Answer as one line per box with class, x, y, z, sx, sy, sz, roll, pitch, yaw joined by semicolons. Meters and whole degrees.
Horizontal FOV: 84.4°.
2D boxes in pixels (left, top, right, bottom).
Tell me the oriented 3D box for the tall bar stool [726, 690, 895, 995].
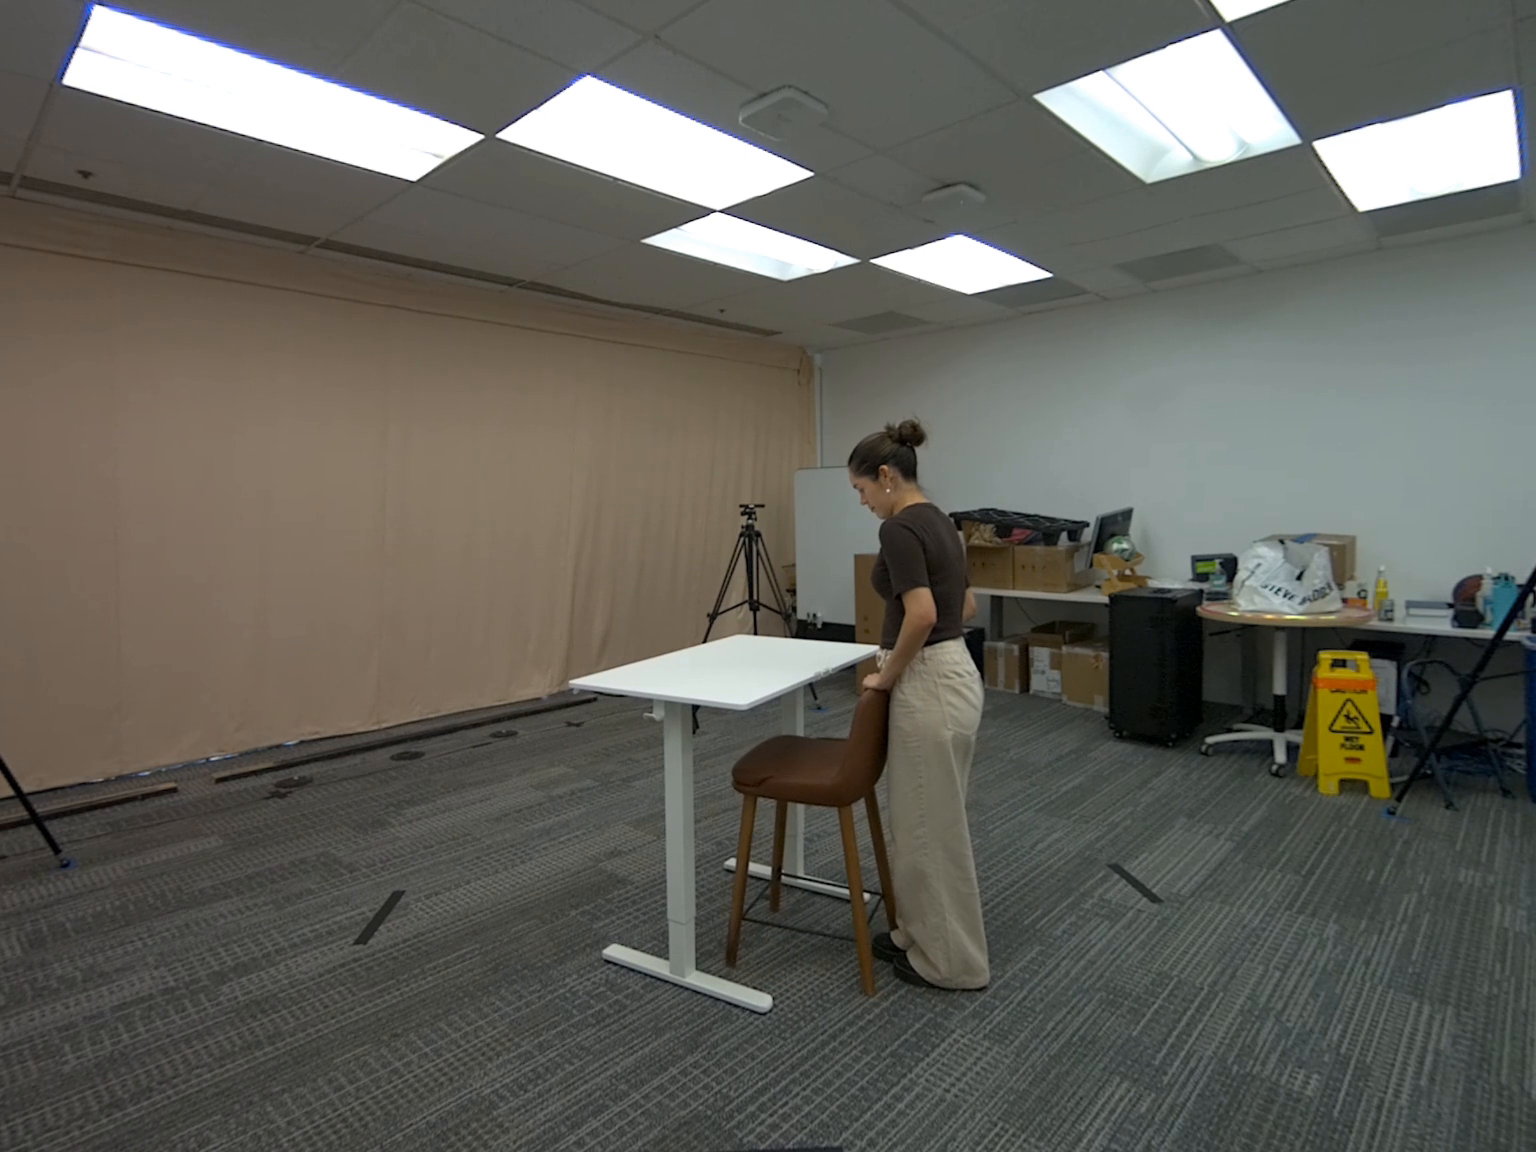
tall bar stool;0.157;0.736;2.605;0.479;0.887;0.446;4;5;23
